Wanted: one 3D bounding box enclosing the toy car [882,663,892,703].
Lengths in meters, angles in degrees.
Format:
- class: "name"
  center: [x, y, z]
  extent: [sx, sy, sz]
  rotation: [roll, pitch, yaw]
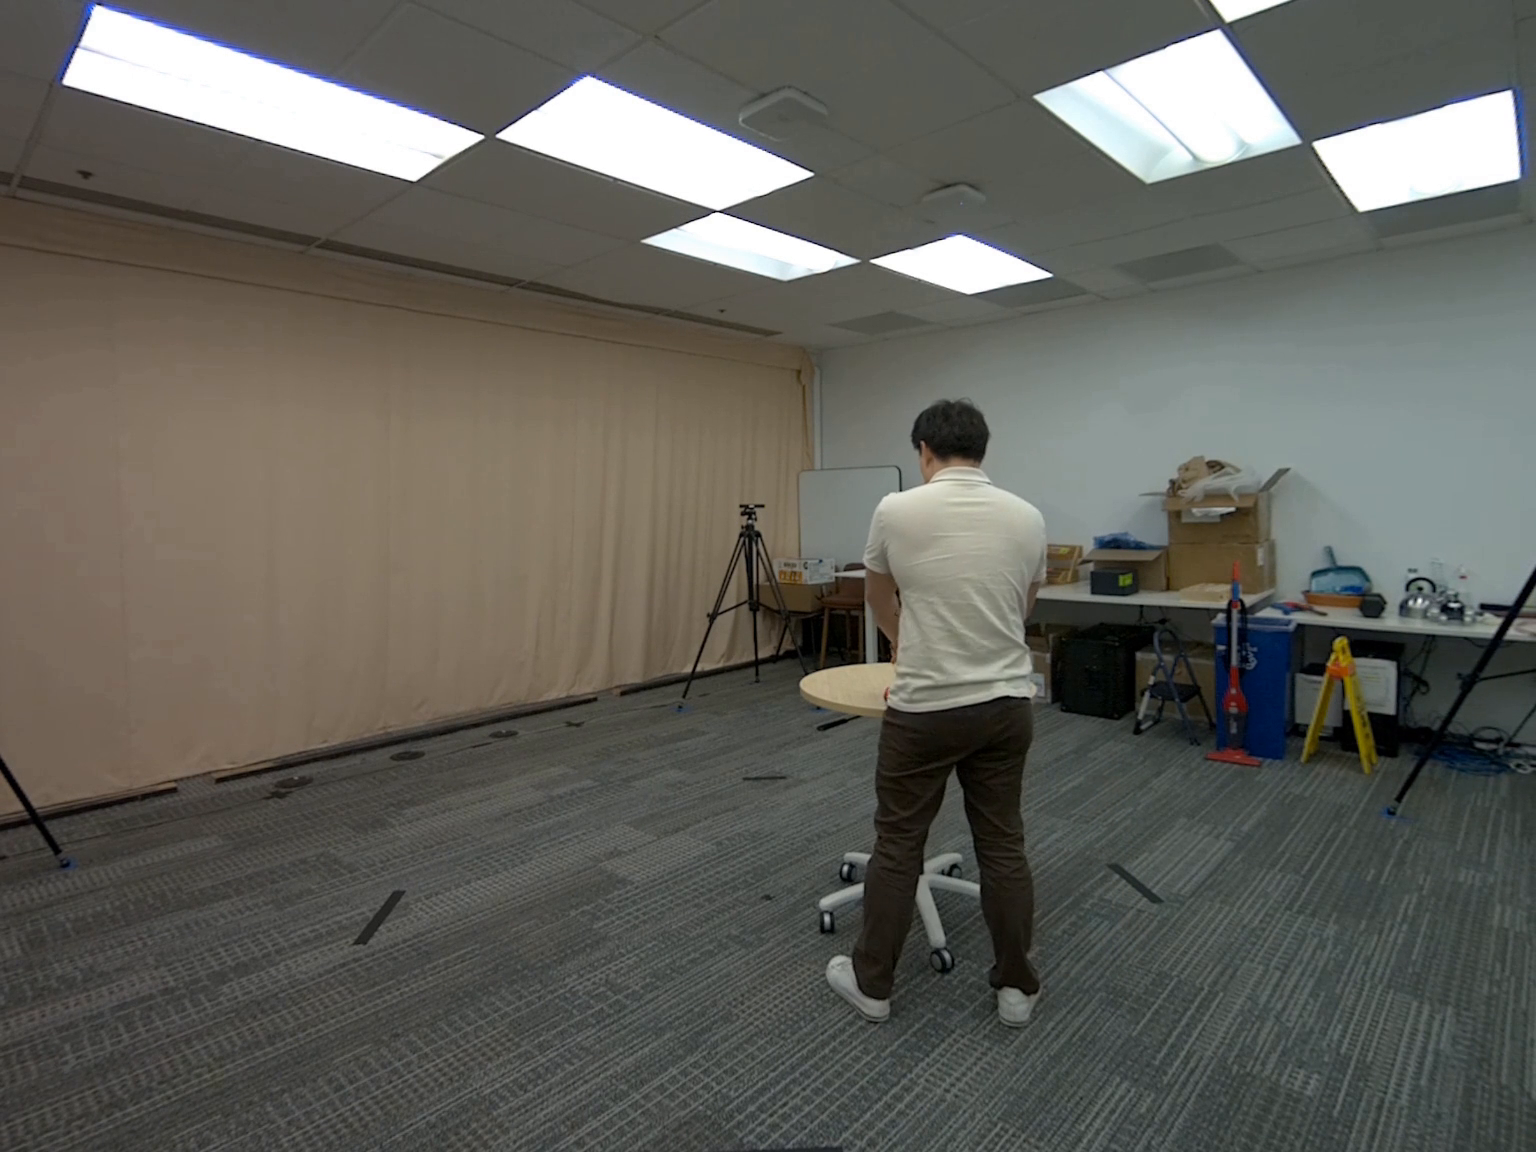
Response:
- class: "toy car"
  center: [0.472, 0.350, 2.583]
  extent: [0.134, 0.082, 0.249]
  rotation: [2, 17, 37]
